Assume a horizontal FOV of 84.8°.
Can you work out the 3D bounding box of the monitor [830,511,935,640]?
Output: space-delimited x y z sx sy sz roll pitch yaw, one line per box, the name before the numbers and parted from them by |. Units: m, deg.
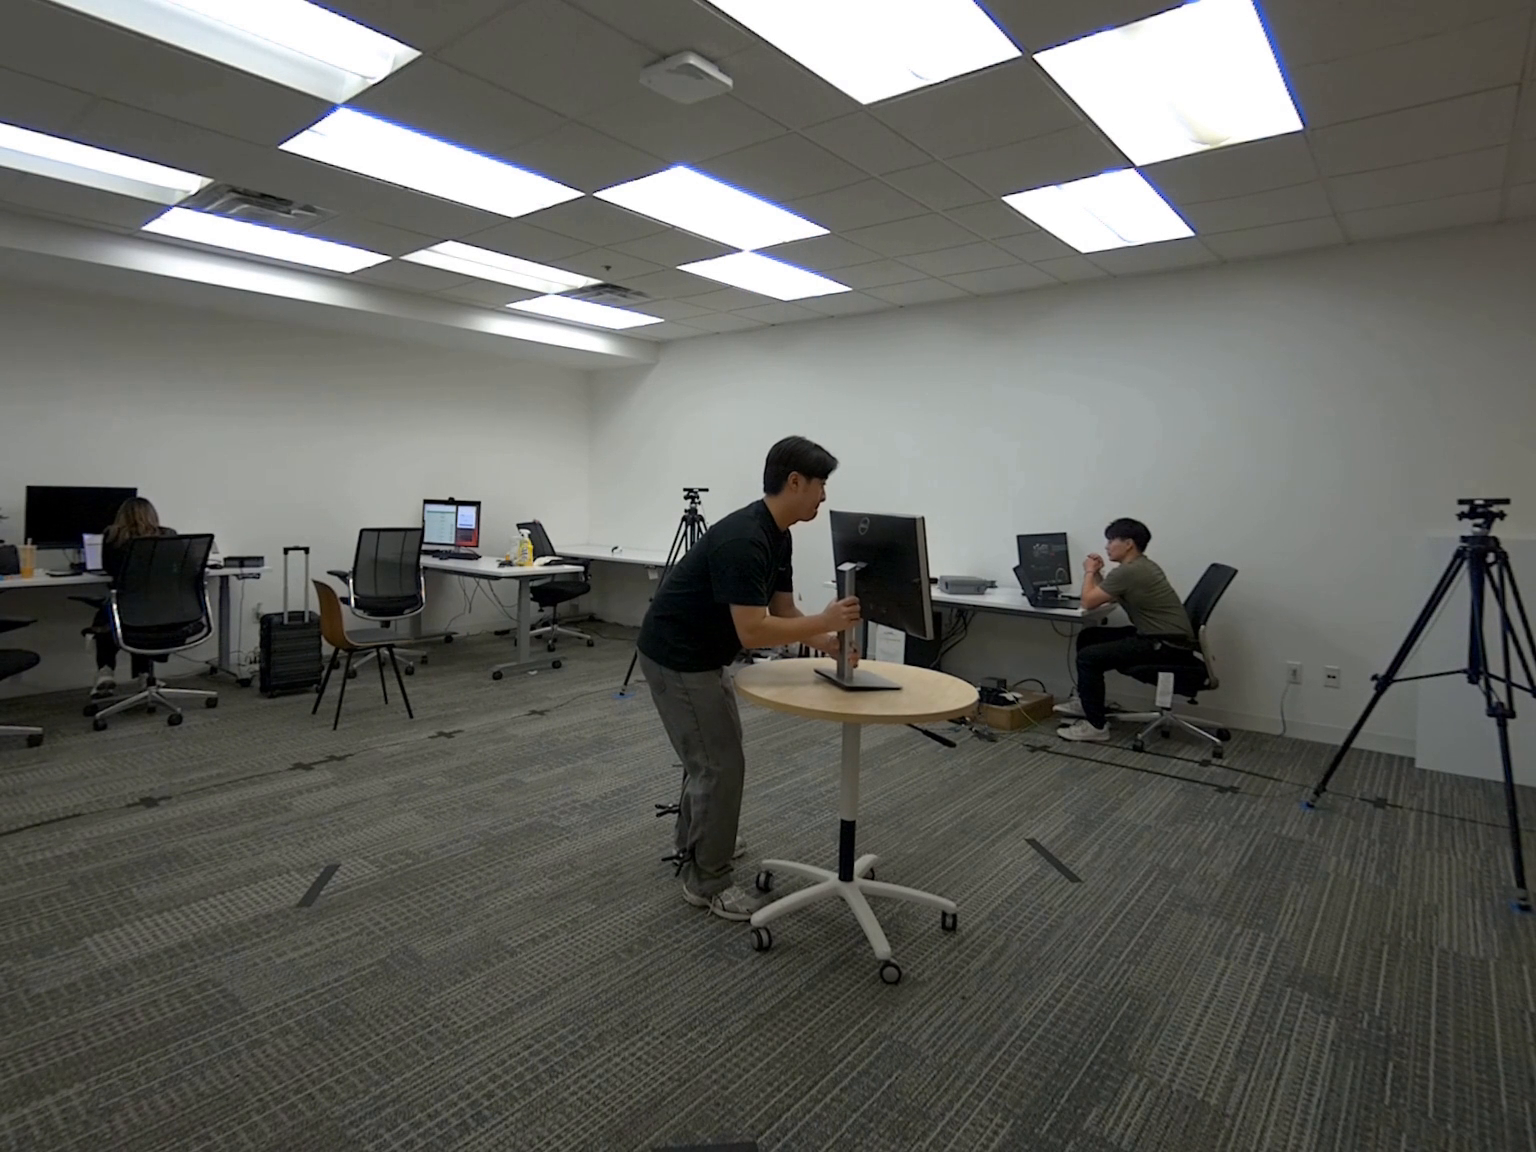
monitor | 0.307 0.077 2.701 0.217 0.565 0.574 6 3 -20
